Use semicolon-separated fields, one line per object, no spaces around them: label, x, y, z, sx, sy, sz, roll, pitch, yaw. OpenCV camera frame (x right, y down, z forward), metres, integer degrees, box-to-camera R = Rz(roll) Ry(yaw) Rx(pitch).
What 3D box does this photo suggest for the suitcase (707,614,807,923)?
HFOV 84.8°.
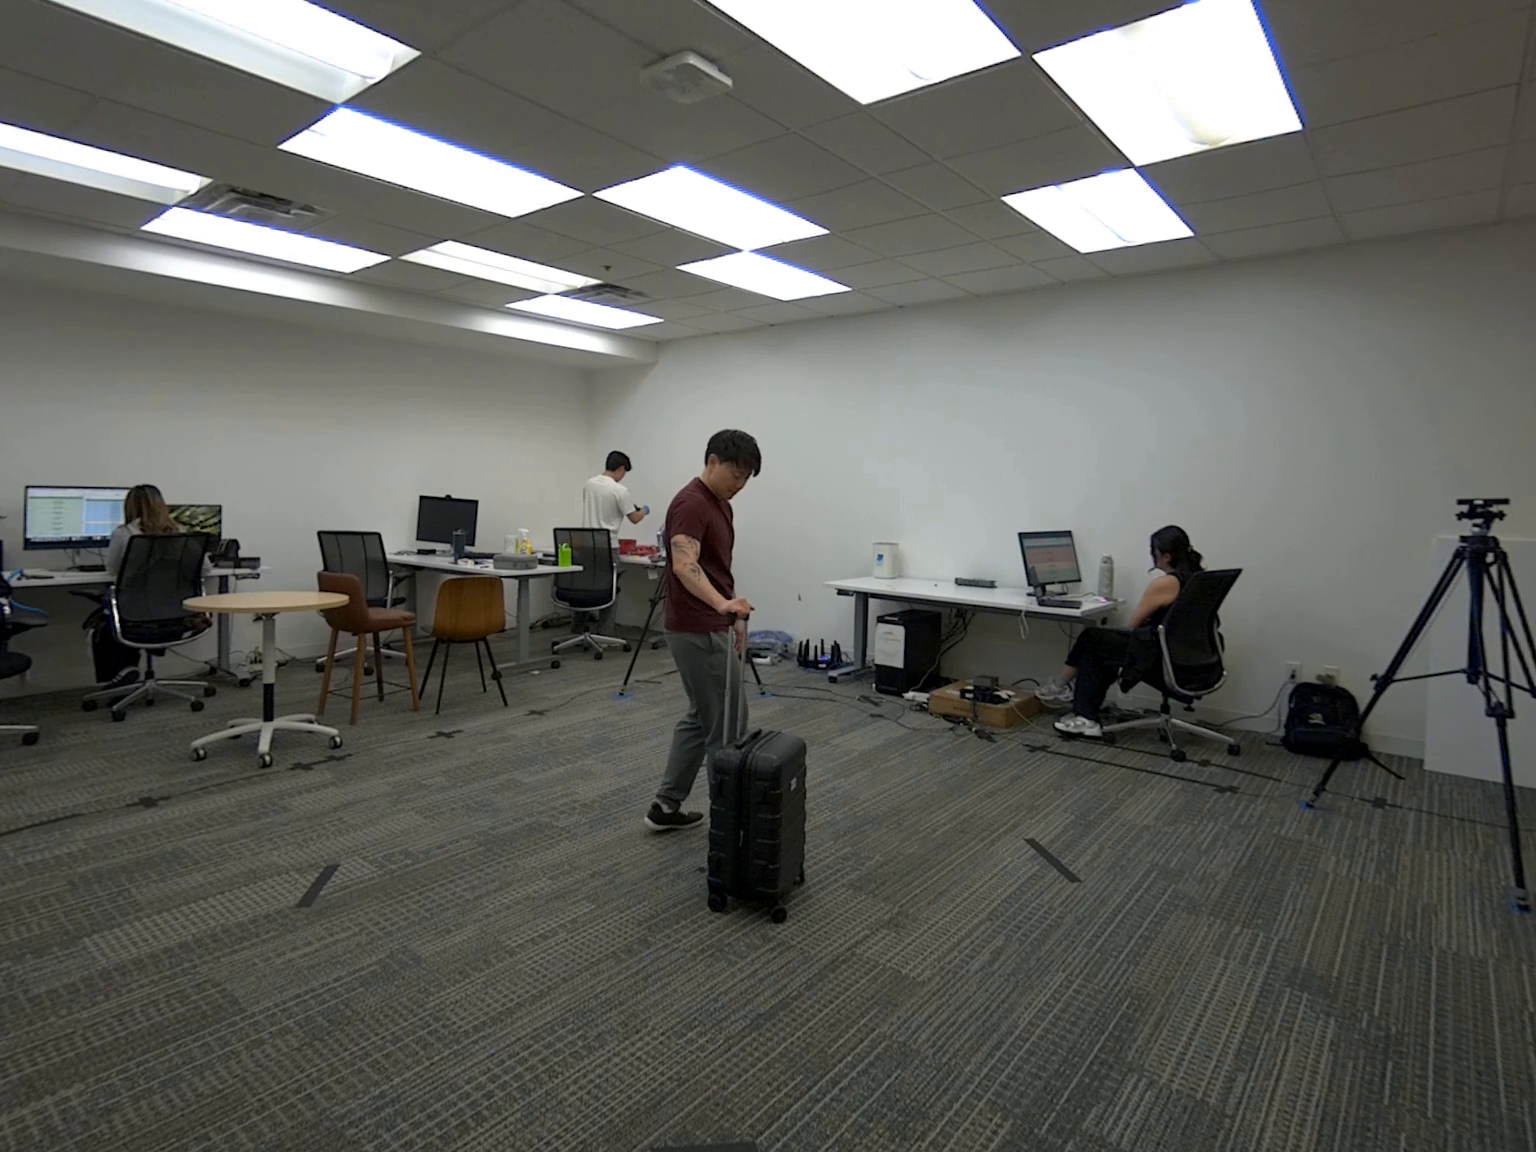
suitcase;-0.019;0.618;2.897;0.263;0.976;0.377;4;3;19
